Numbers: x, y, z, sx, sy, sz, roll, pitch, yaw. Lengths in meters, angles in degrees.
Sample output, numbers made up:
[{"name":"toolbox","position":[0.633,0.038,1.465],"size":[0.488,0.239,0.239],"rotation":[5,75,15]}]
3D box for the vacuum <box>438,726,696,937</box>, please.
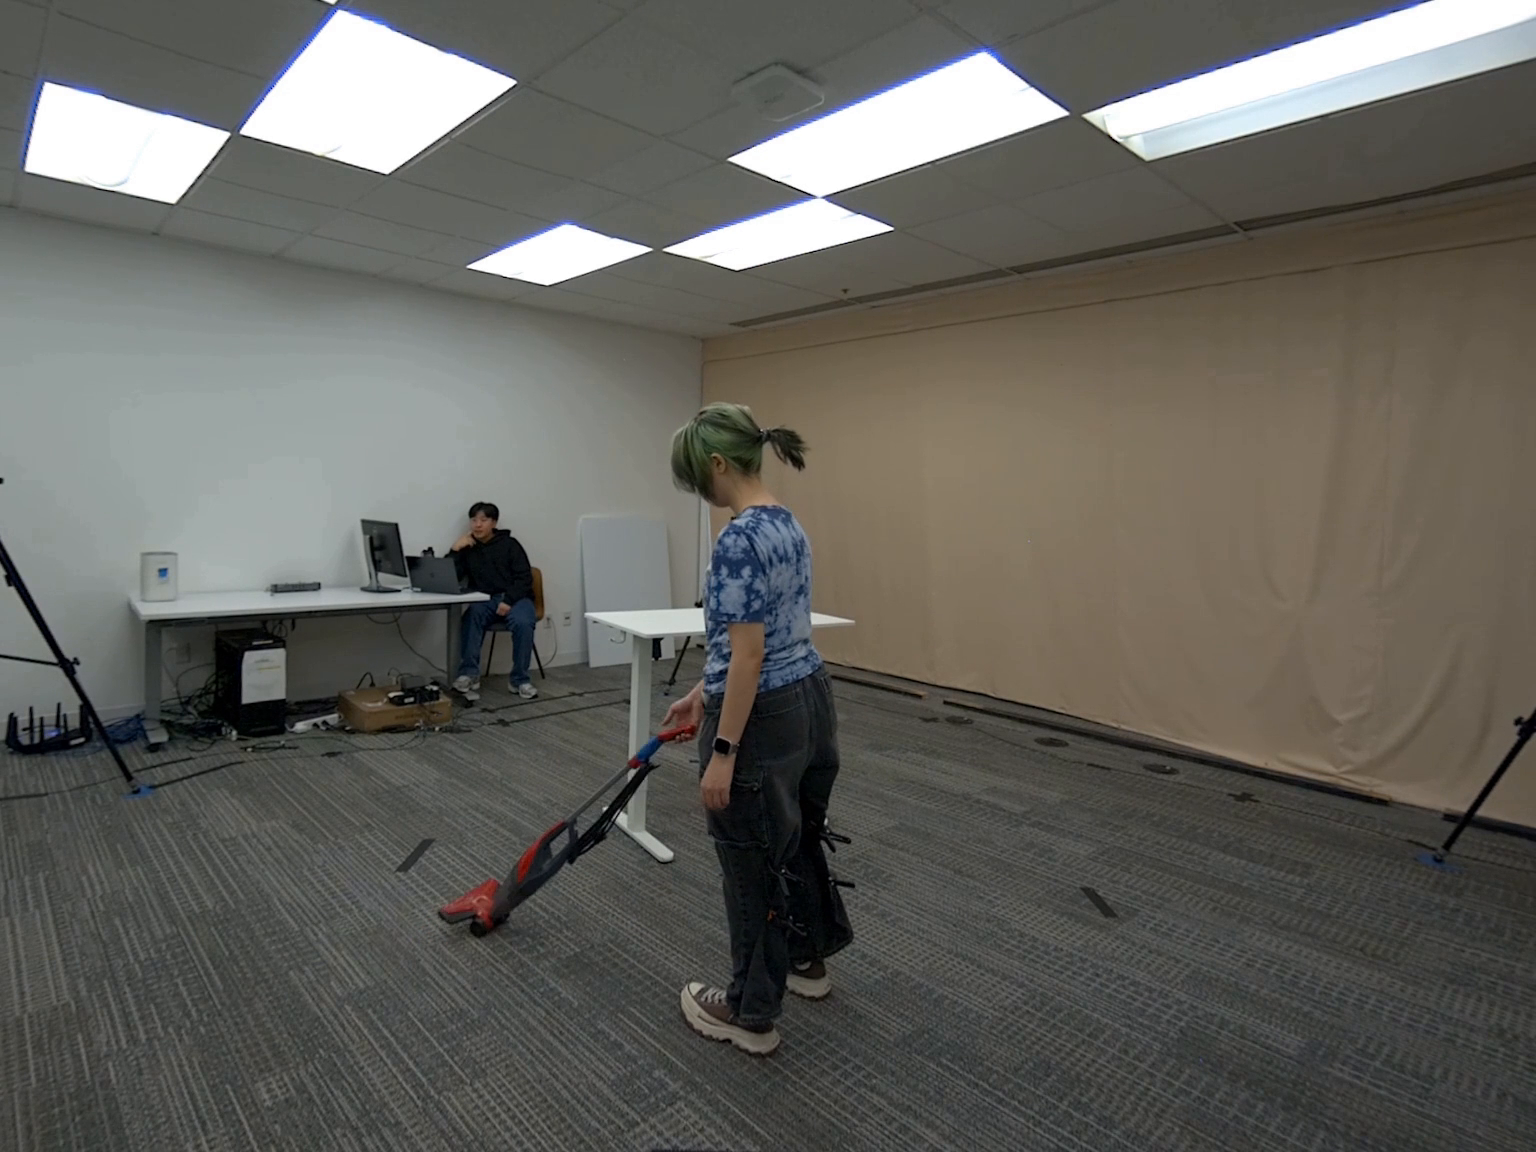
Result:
[{"name":"vacuum","position":[-0.578,0.777,2.507],"size":[1.051,0.146,0.248],"rotation":[-41,-12,23]}]
